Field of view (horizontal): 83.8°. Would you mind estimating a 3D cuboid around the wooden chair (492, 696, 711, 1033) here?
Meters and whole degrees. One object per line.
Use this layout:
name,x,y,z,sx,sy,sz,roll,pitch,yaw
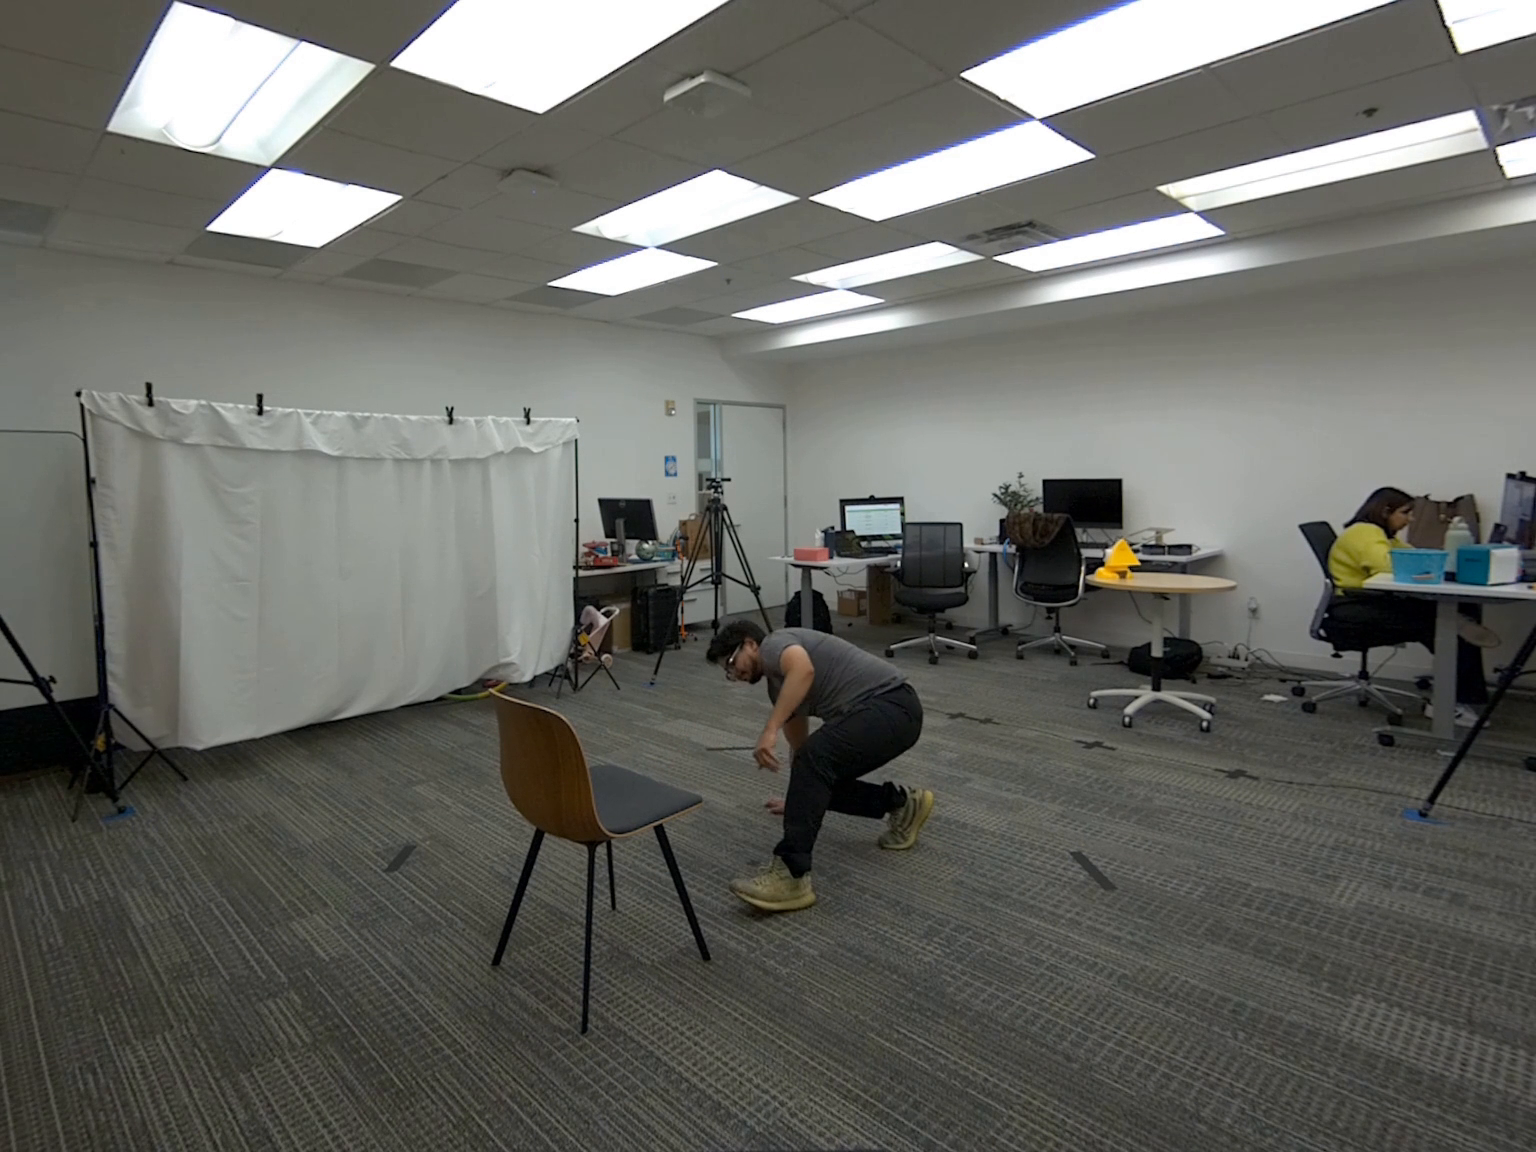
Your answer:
wooden chair,-0.485,0.701,2.454,0.493,0.871,0.511,3,10,43
